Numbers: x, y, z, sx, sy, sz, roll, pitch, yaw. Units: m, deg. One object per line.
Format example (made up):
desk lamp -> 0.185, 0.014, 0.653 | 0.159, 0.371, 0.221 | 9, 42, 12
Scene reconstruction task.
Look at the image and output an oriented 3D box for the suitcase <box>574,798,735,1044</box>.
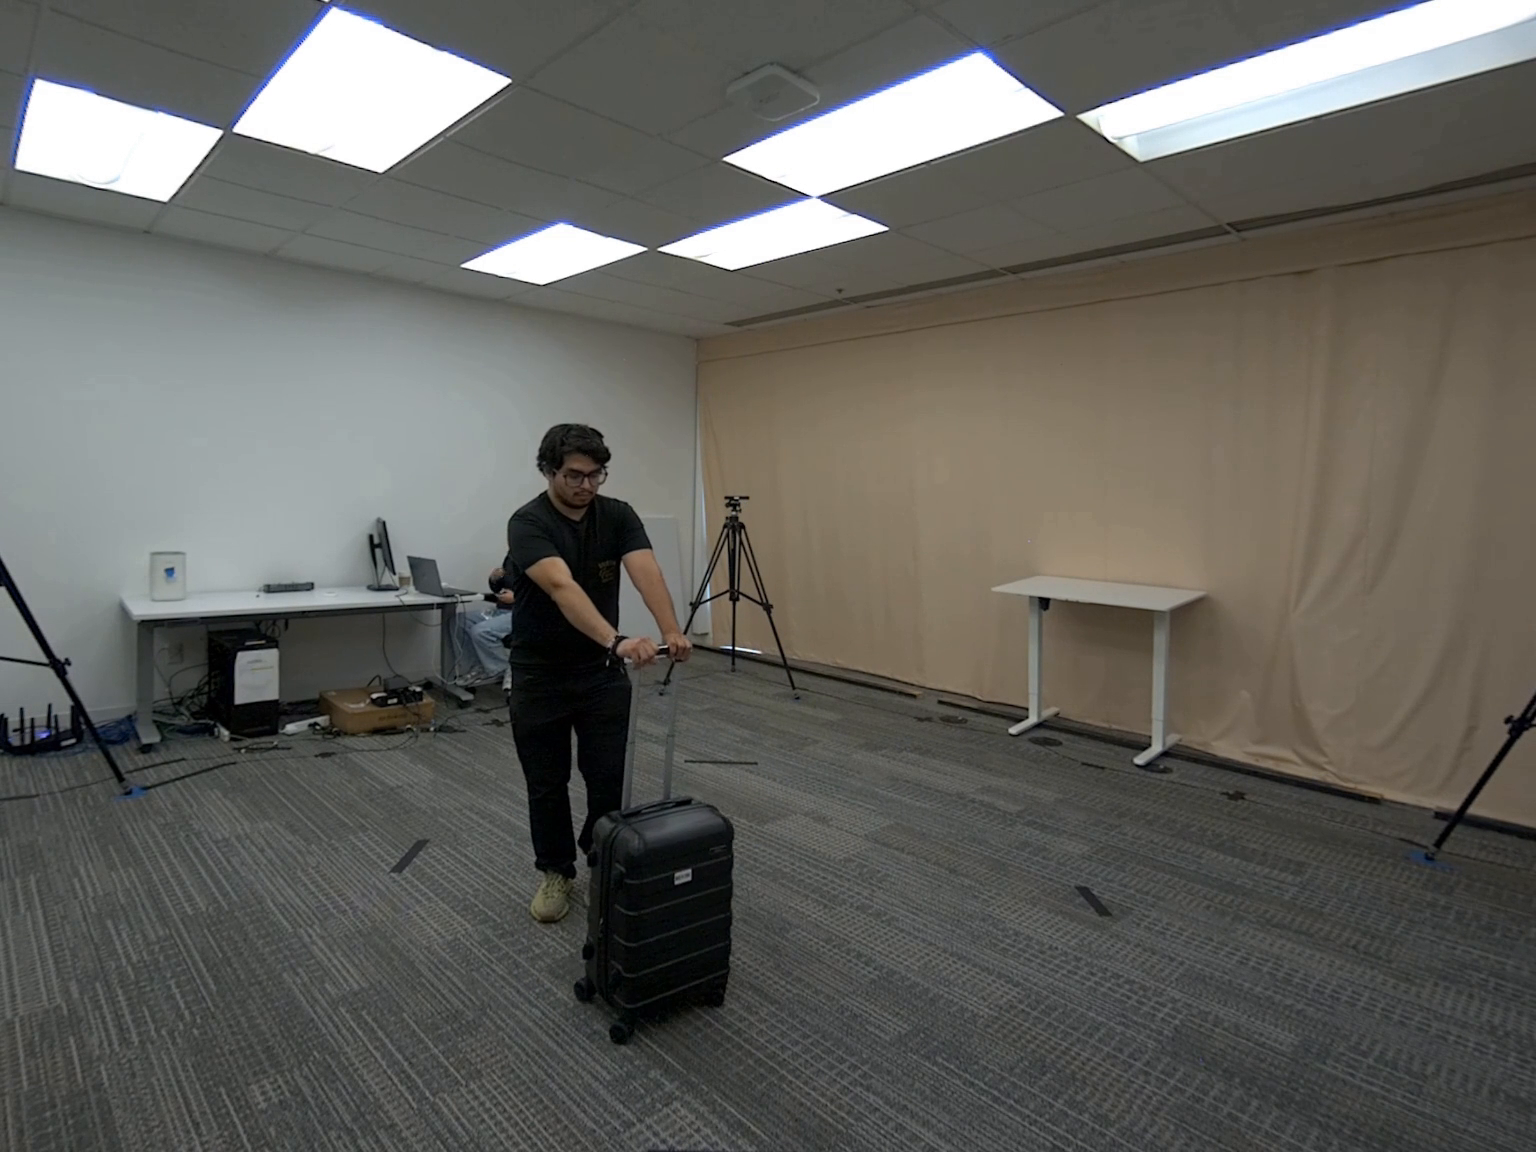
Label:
suitcase -> -0.277, 0.707, 2.268 | 0.375, 0.975, 0.264 | 0, 7, -35
